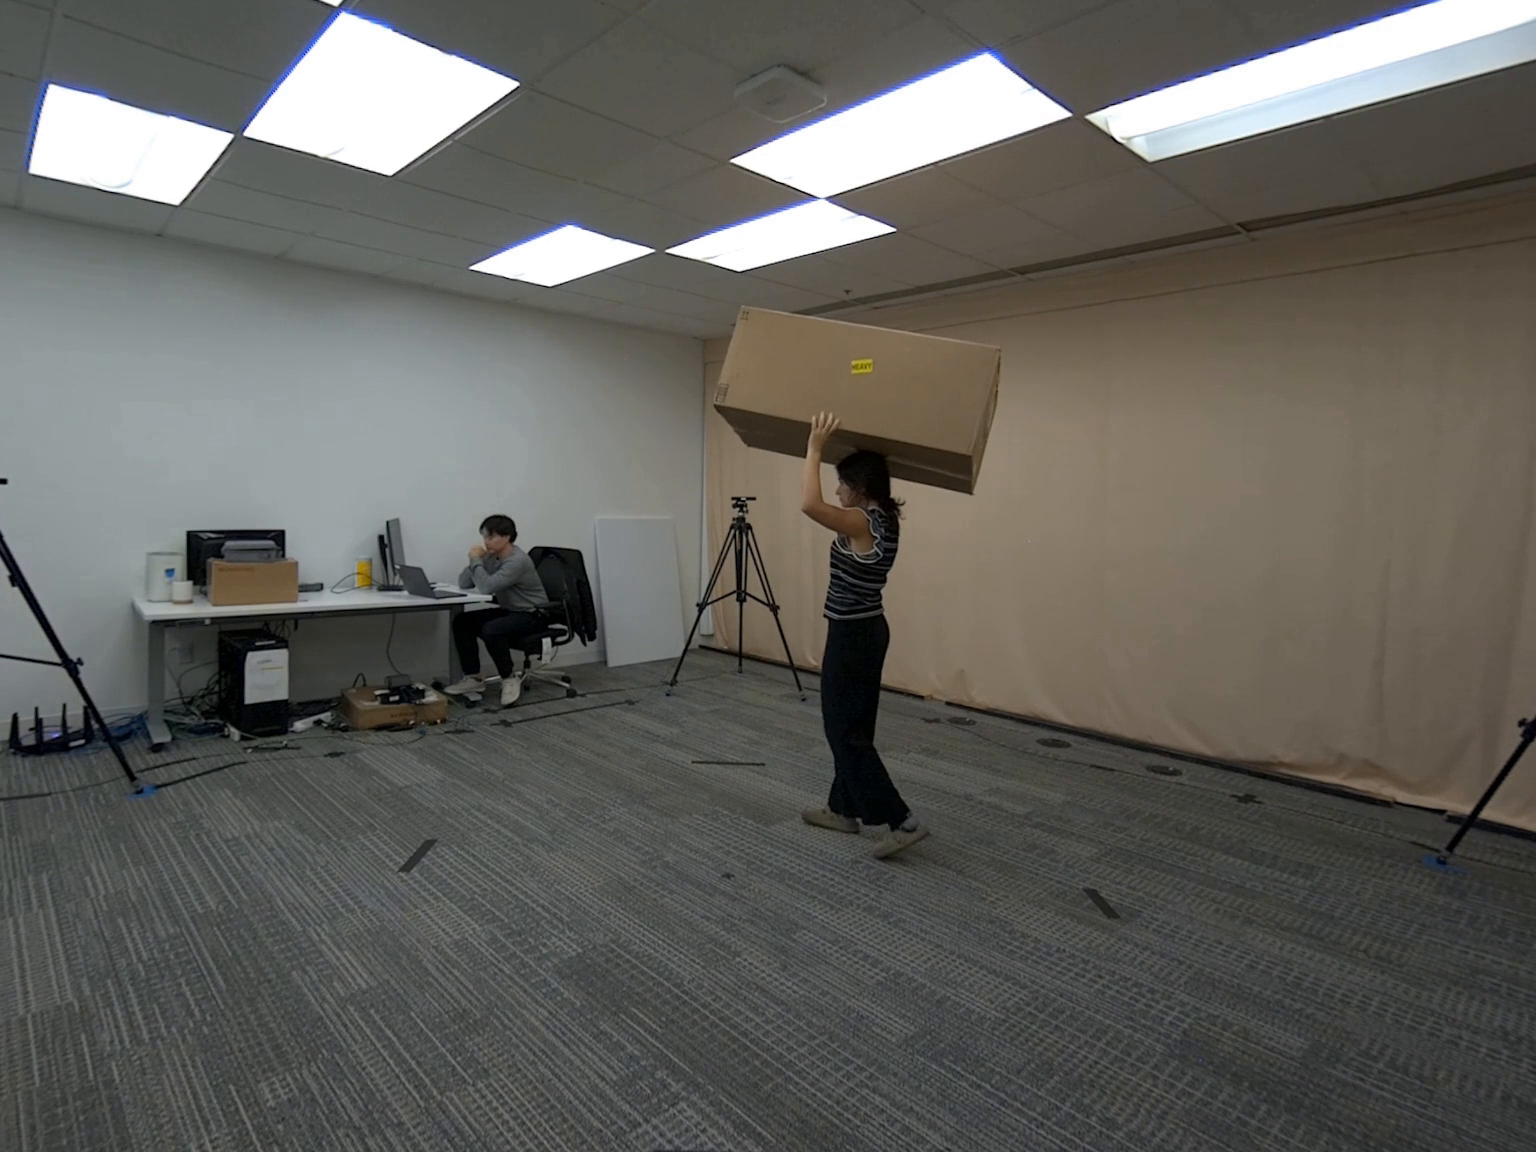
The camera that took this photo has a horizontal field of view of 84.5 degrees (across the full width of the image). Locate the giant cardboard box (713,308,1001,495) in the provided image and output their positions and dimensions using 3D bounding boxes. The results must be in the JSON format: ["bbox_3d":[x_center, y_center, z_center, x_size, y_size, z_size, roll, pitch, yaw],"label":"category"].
[{"bbox_3d":[0.370,-0.711,3.442,1.043,0.427,0.566,15,-5,18],"label":"giant cardboard box"}]
